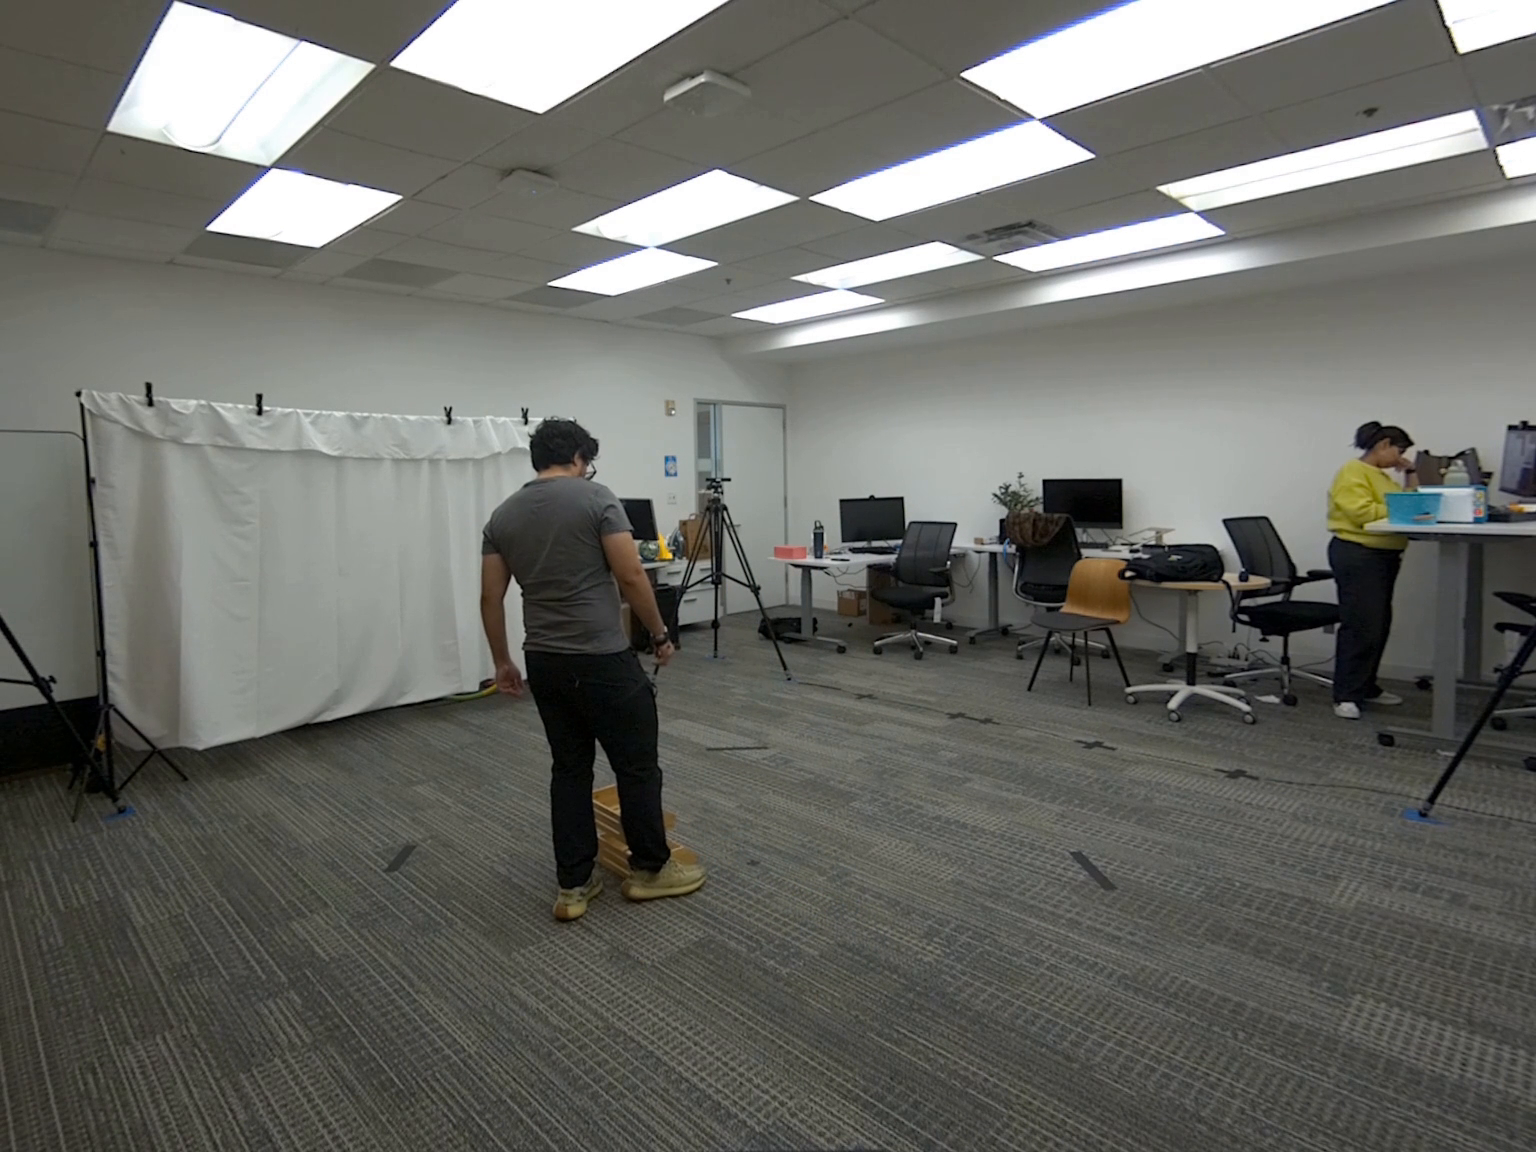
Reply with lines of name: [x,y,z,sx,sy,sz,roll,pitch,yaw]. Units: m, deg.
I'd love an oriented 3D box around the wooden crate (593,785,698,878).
wooden crate: [-0.461,0.914,3.090,0.294,0.272,0.334,-7,8,-41]
